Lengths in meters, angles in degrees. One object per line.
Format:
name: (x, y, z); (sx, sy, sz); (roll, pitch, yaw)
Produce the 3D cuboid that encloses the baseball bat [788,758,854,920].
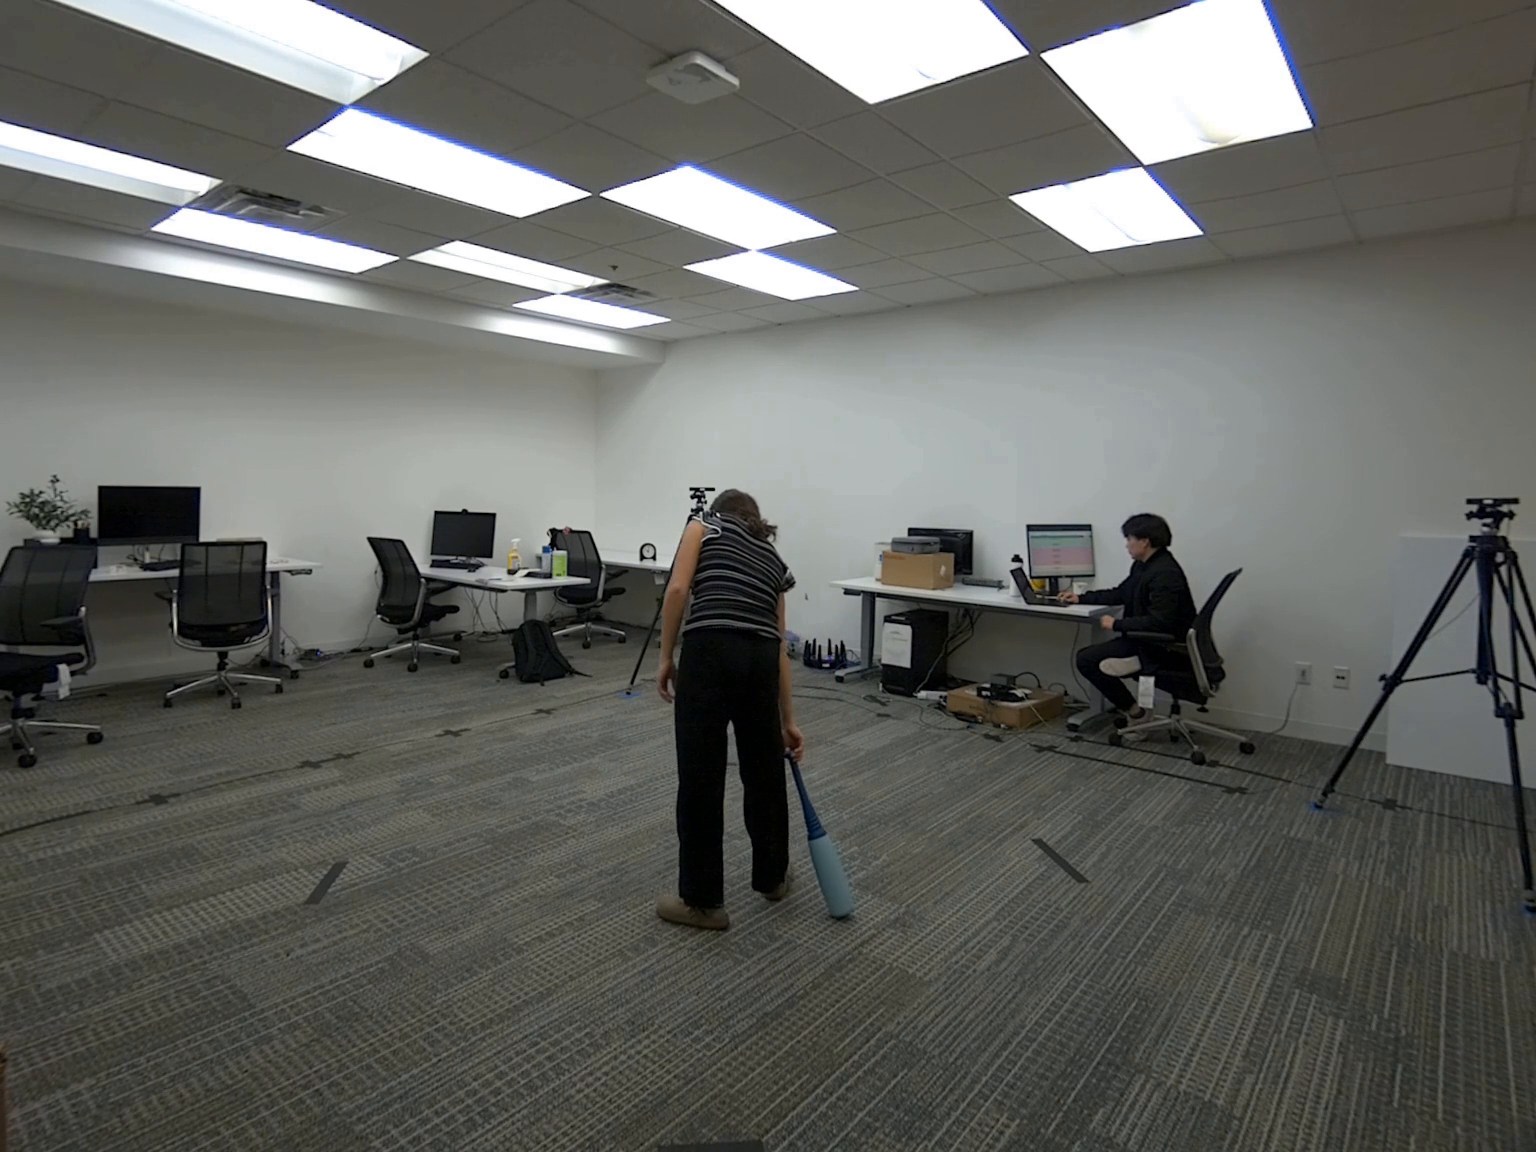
baseball bat: (0.150, 0.852, 2.821); (0.089, 0.550, 0.088); (-18, -10, -4)
